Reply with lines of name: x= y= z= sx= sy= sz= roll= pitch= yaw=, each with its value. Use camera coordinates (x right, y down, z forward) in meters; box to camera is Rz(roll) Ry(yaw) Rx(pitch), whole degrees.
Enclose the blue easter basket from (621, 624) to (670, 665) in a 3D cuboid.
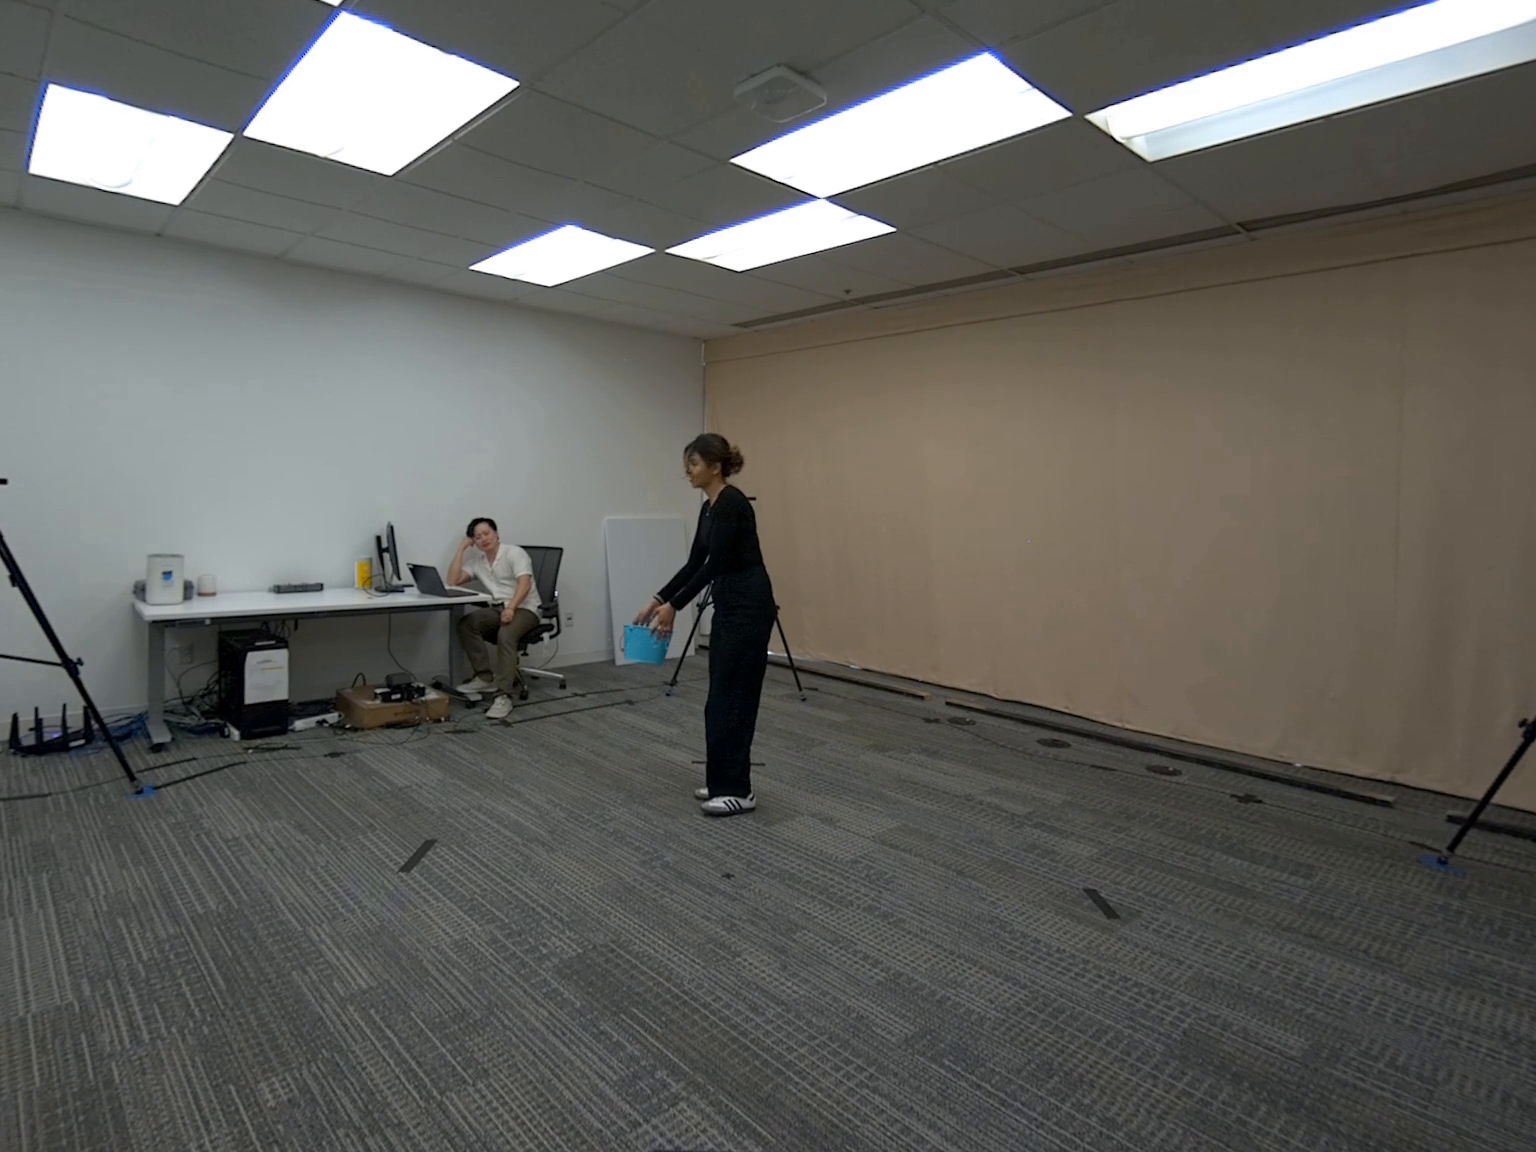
blue easter basket: x=-0.557 y=0.313 z=3.795 sx=0.244 sy=0.156 sz=0.242 roll=8 pitch=-5 yaw=-1
